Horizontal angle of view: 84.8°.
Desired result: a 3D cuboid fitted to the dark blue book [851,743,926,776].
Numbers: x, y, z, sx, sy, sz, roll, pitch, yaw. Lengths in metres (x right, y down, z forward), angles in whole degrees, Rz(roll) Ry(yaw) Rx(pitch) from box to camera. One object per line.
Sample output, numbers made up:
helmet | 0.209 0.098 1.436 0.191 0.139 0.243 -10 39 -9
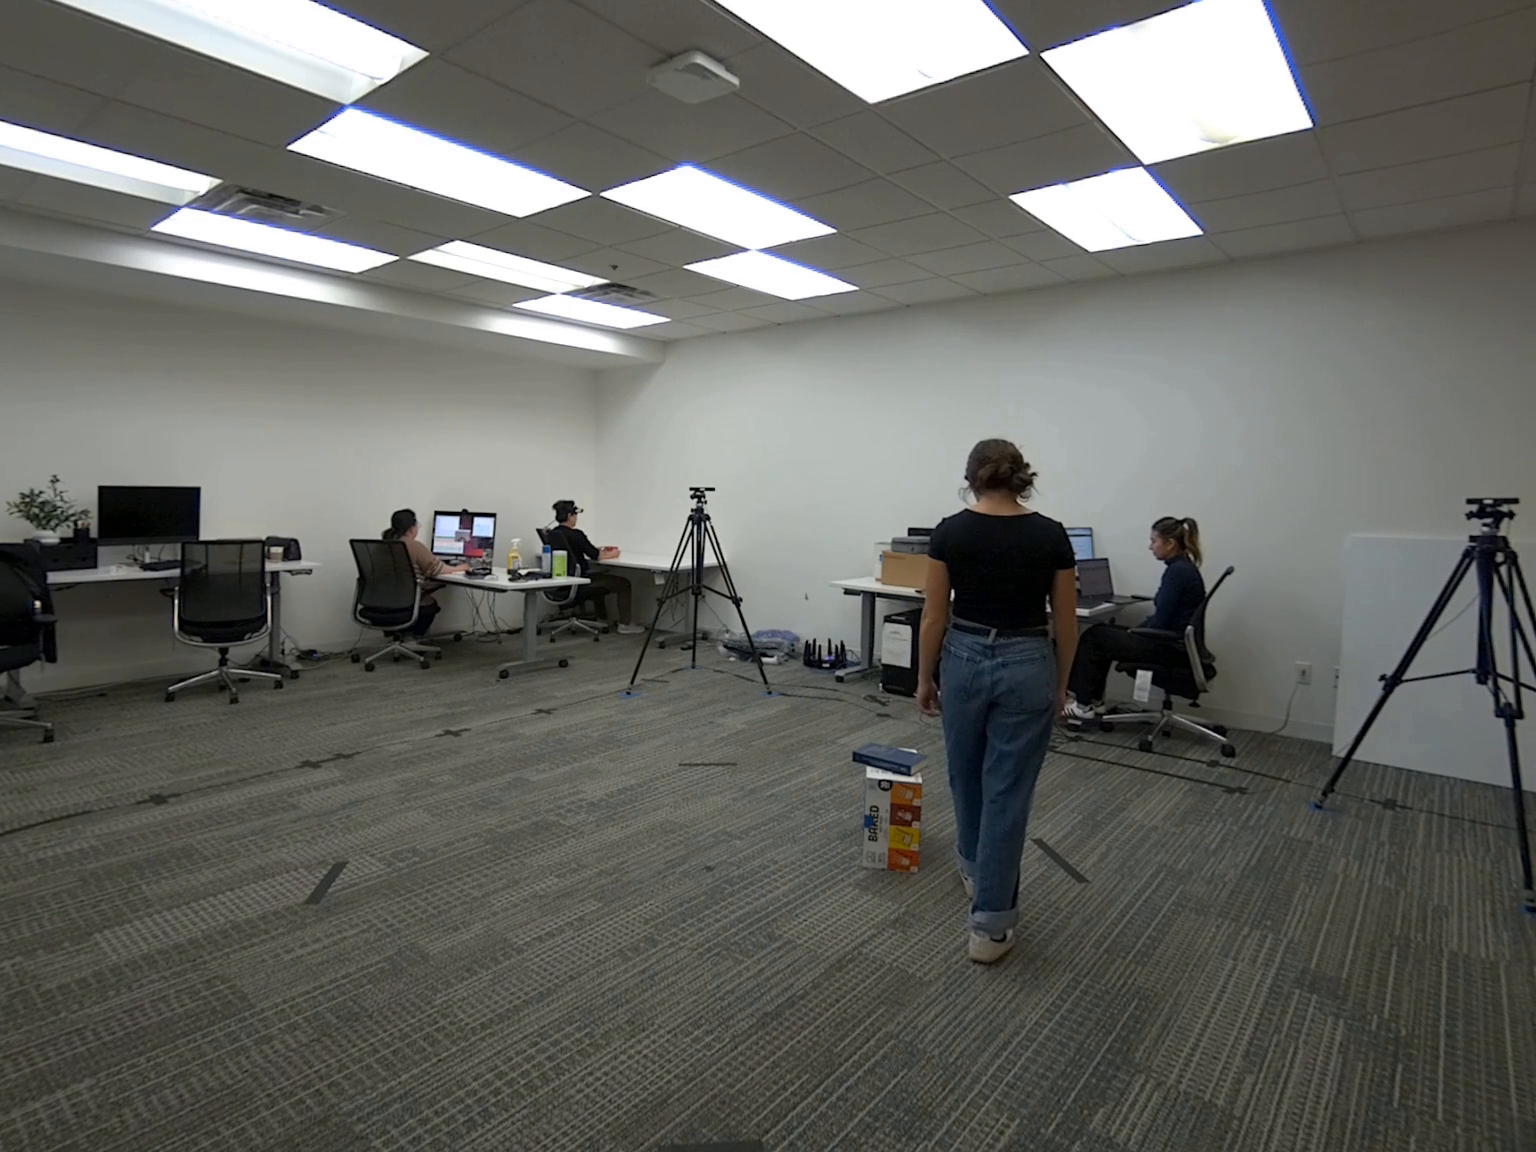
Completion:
dark blue book | 0.462 0.699 3.288 0.253 0.045 0.159 7 7 34
